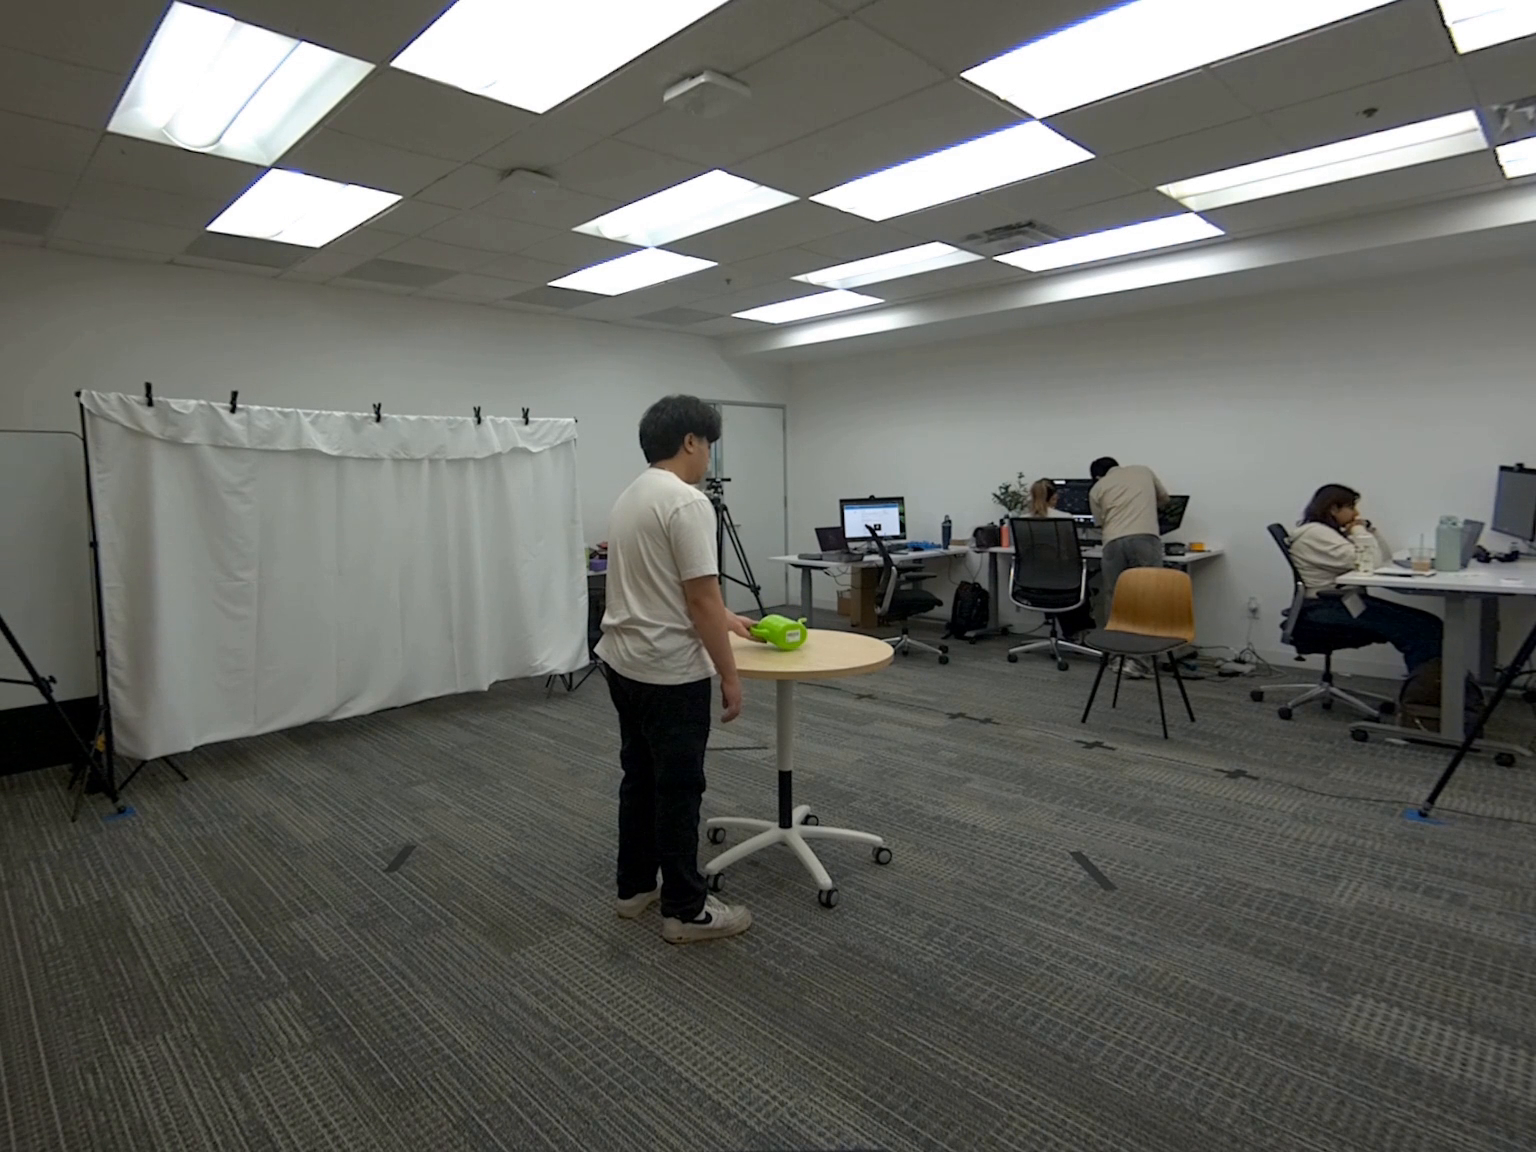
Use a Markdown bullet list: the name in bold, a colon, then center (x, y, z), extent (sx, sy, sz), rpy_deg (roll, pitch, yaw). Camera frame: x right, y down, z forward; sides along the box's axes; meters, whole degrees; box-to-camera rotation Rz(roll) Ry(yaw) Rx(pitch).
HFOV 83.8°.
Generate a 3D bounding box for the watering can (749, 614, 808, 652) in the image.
- **watering can**: center (0.079, 0.181, 3.051), extent (0.274, 0.096, 0.183), rpy_deg (-20, 21, -31)
